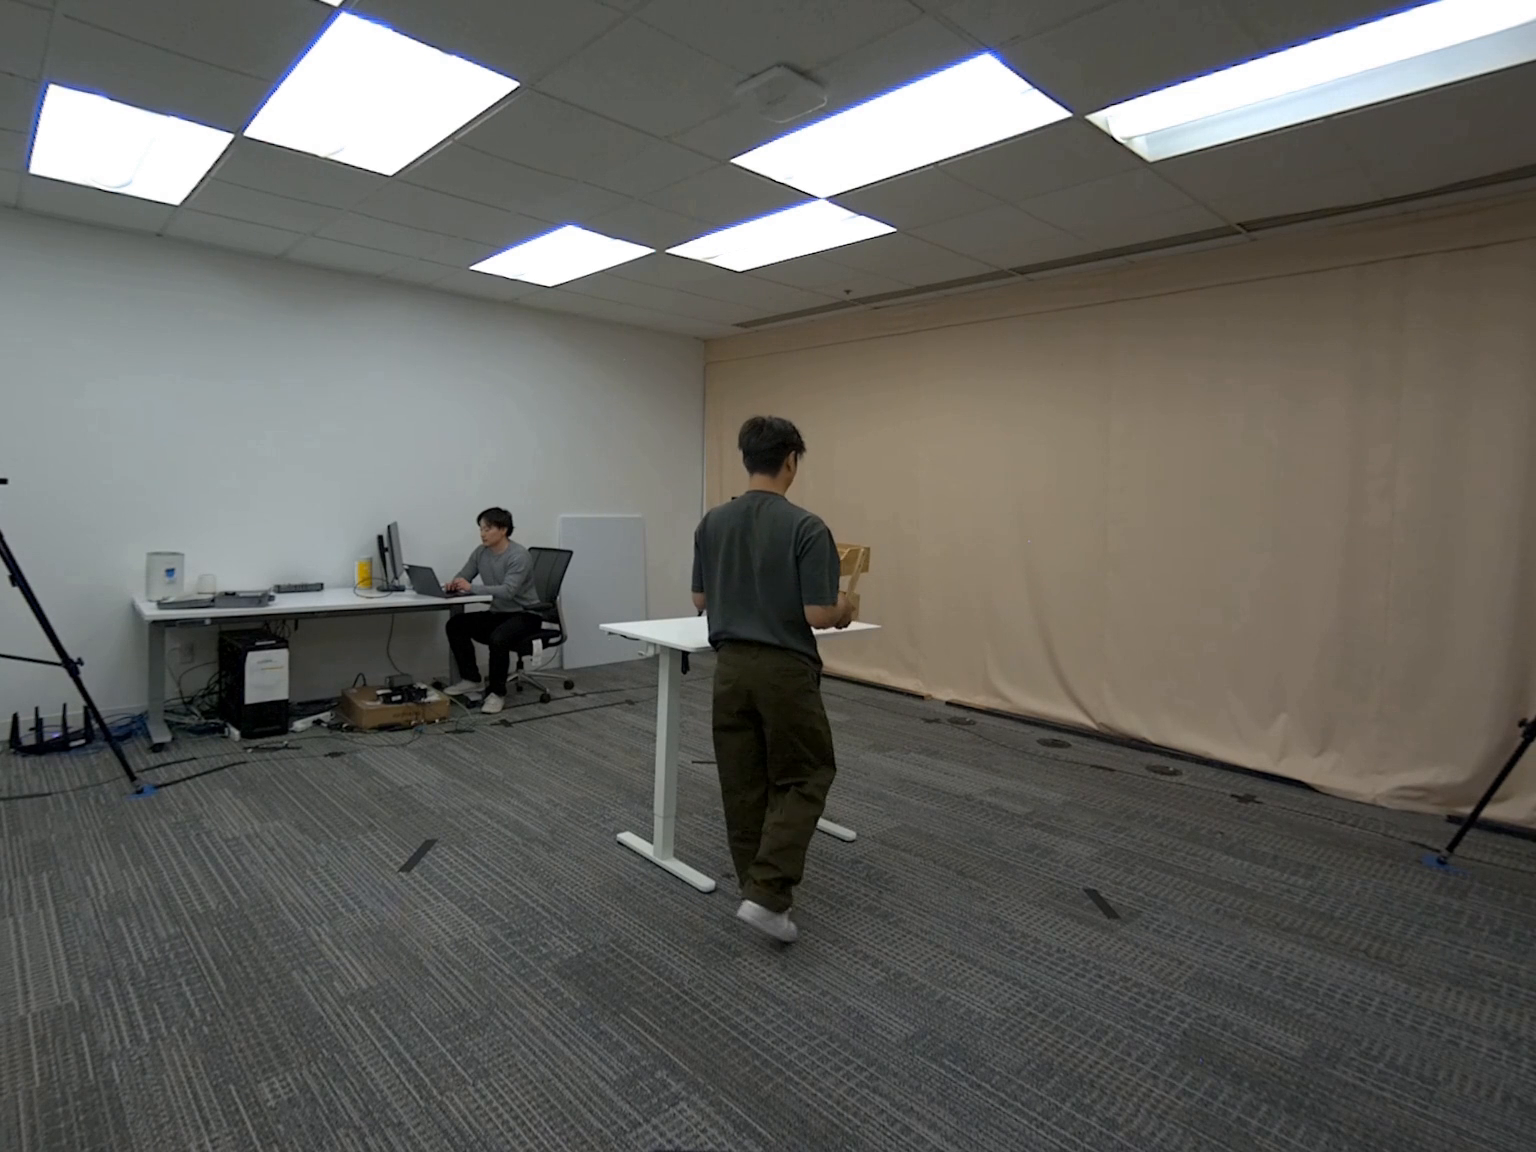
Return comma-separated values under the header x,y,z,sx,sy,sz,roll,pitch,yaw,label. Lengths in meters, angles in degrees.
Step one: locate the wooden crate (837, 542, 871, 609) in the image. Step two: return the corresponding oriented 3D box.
x,y,z,sx,sy,sz,roll,pitch,yaw,label
0.144,0.018,2.982,0.333,0.272,0.296,10,10,36,wooden crate
